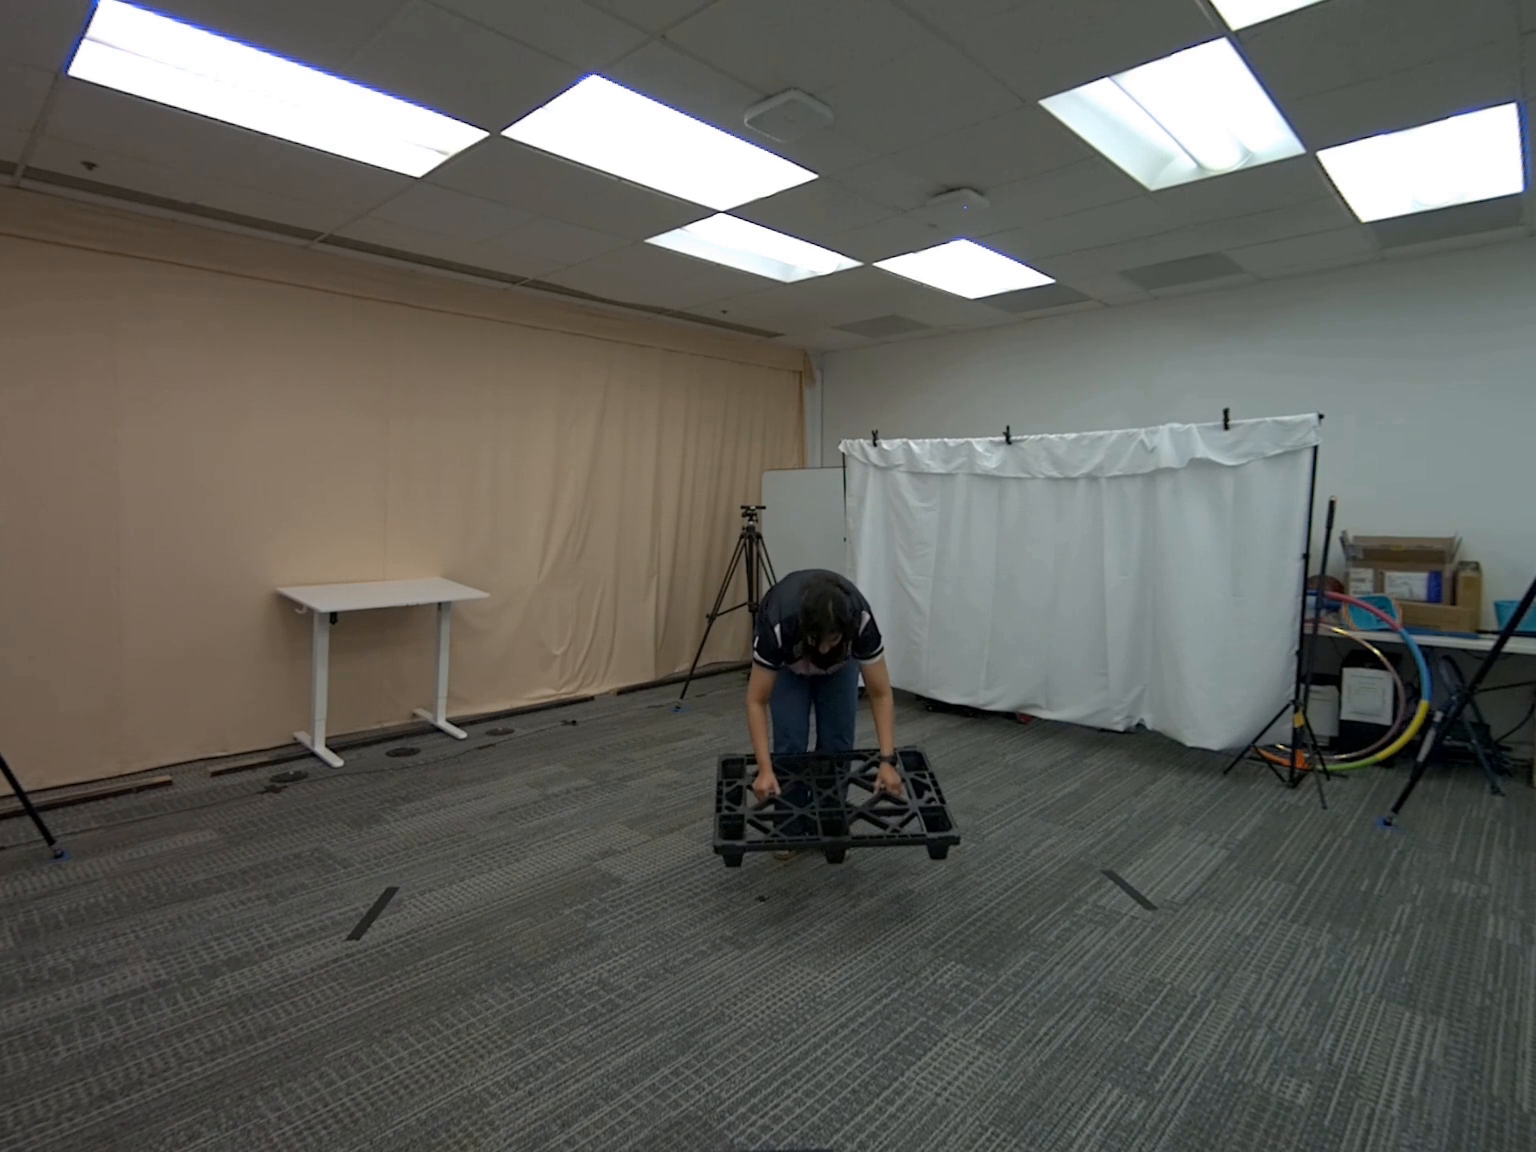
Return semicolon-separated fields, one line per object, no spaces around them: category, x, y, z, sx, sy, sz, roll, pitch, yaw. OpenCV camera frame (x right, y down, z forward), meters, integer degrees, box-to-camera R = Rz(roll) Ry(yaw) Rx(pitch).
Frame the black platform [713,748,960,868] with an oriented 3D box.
black platform;0.221;0.826;3.003;0.807;0.142;0.610;-3;16;1
